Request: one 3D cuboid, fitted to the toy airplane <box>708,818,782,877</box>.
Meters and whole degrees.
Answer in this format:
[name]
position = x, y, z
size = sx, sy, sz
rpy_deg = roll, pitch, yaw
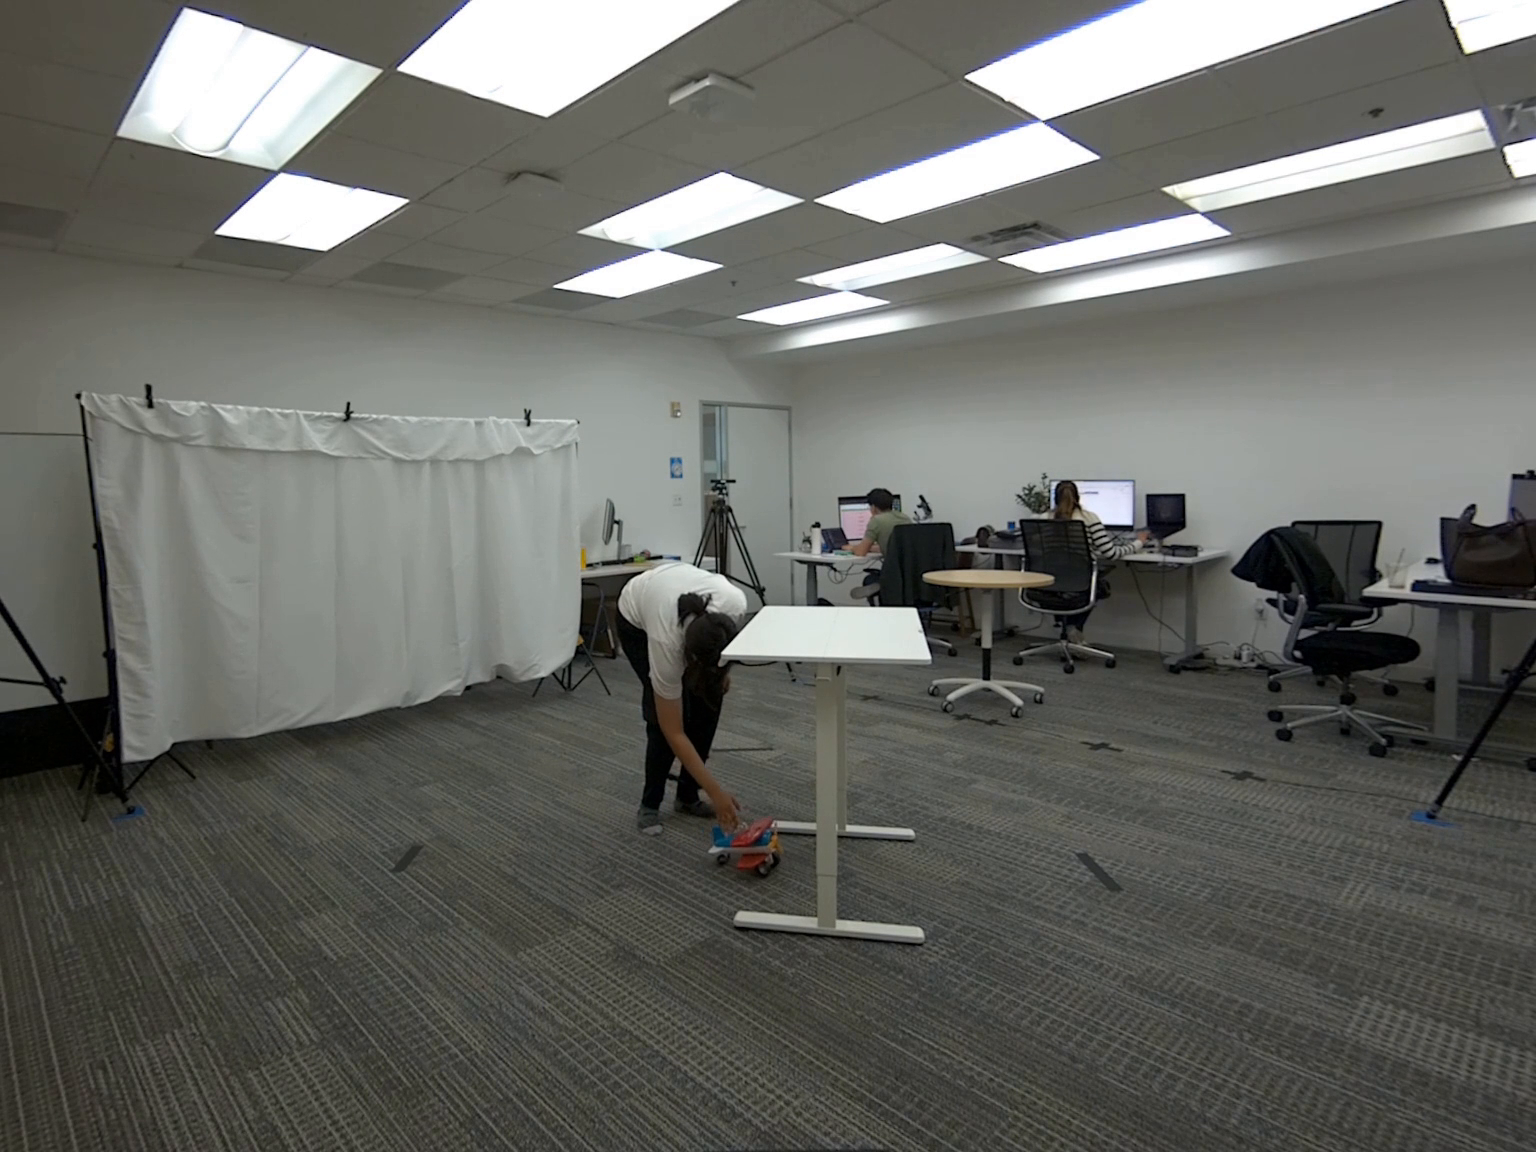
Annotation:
[toy airplane]
position = -0.081, 0.982, 3.059
size = 0.258, 0.156, 0.253
rpy_deg = 0, 5, -5
